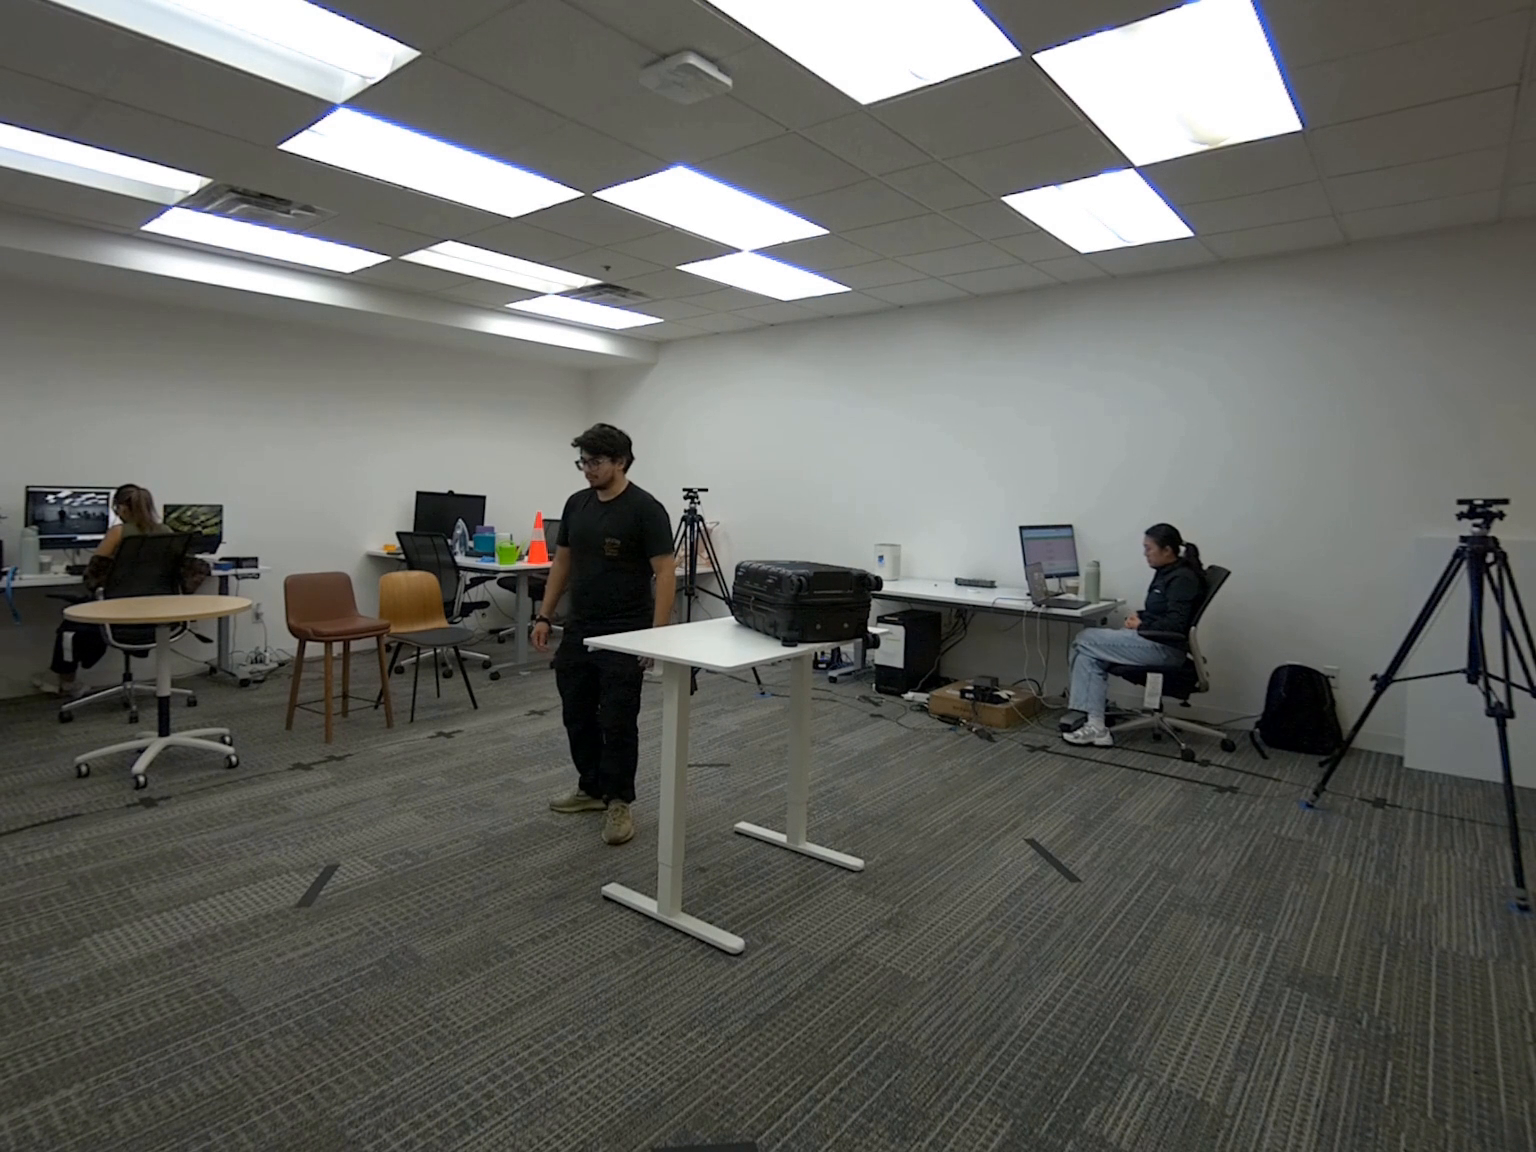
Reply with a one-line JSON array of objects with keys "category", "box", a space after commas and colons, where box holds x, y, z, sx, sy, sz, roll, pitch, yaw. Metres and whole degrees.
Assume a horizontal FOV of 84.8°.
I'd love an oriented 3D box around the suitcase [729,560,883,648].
[{"category": "suitcase", "box": [0.104, 0.085, 3.058, 0.366, 0.247, 0.564, 0, 5, -25]}]
